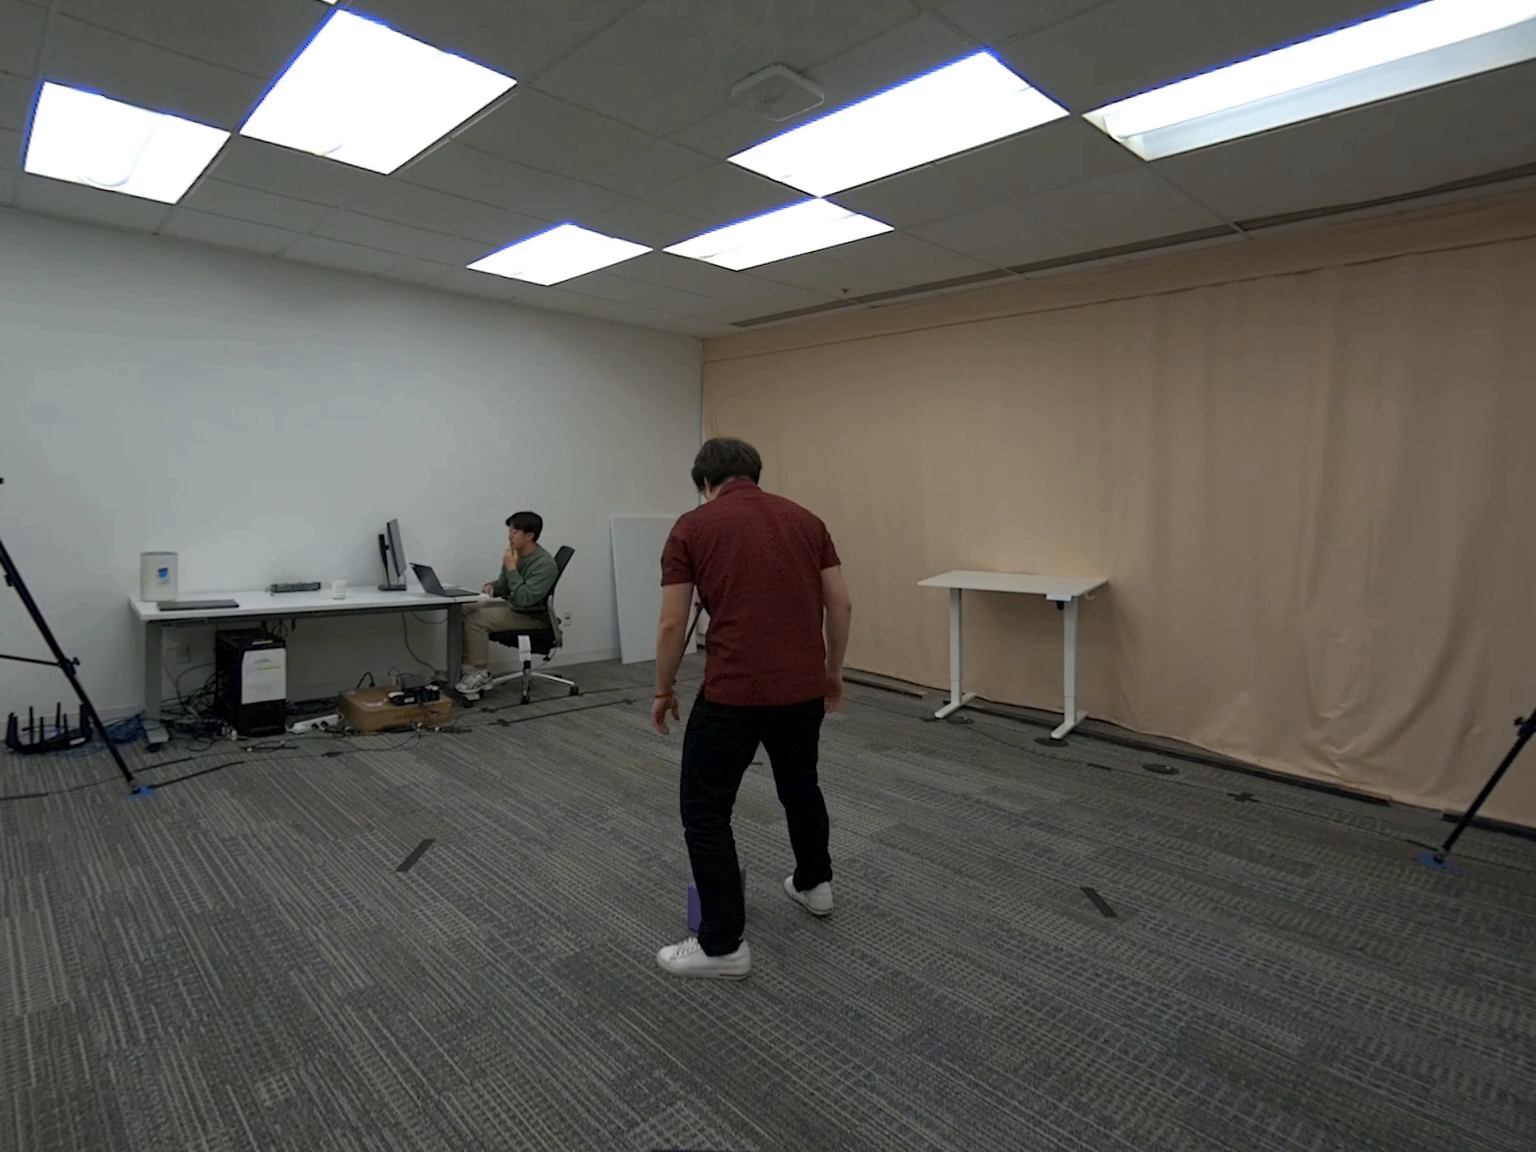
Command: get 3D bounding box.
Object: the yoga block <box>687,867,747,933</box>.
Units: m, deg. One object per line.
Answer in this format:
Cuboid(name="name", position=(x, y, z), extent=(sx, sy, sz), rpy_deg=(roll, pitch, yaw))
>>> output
Cuboid(name="yoga block", position=(-0.167, 1.060, 2.772), extent=(0.078, 0.149, 0.224), rpy_deg=(2, 4, 34))
